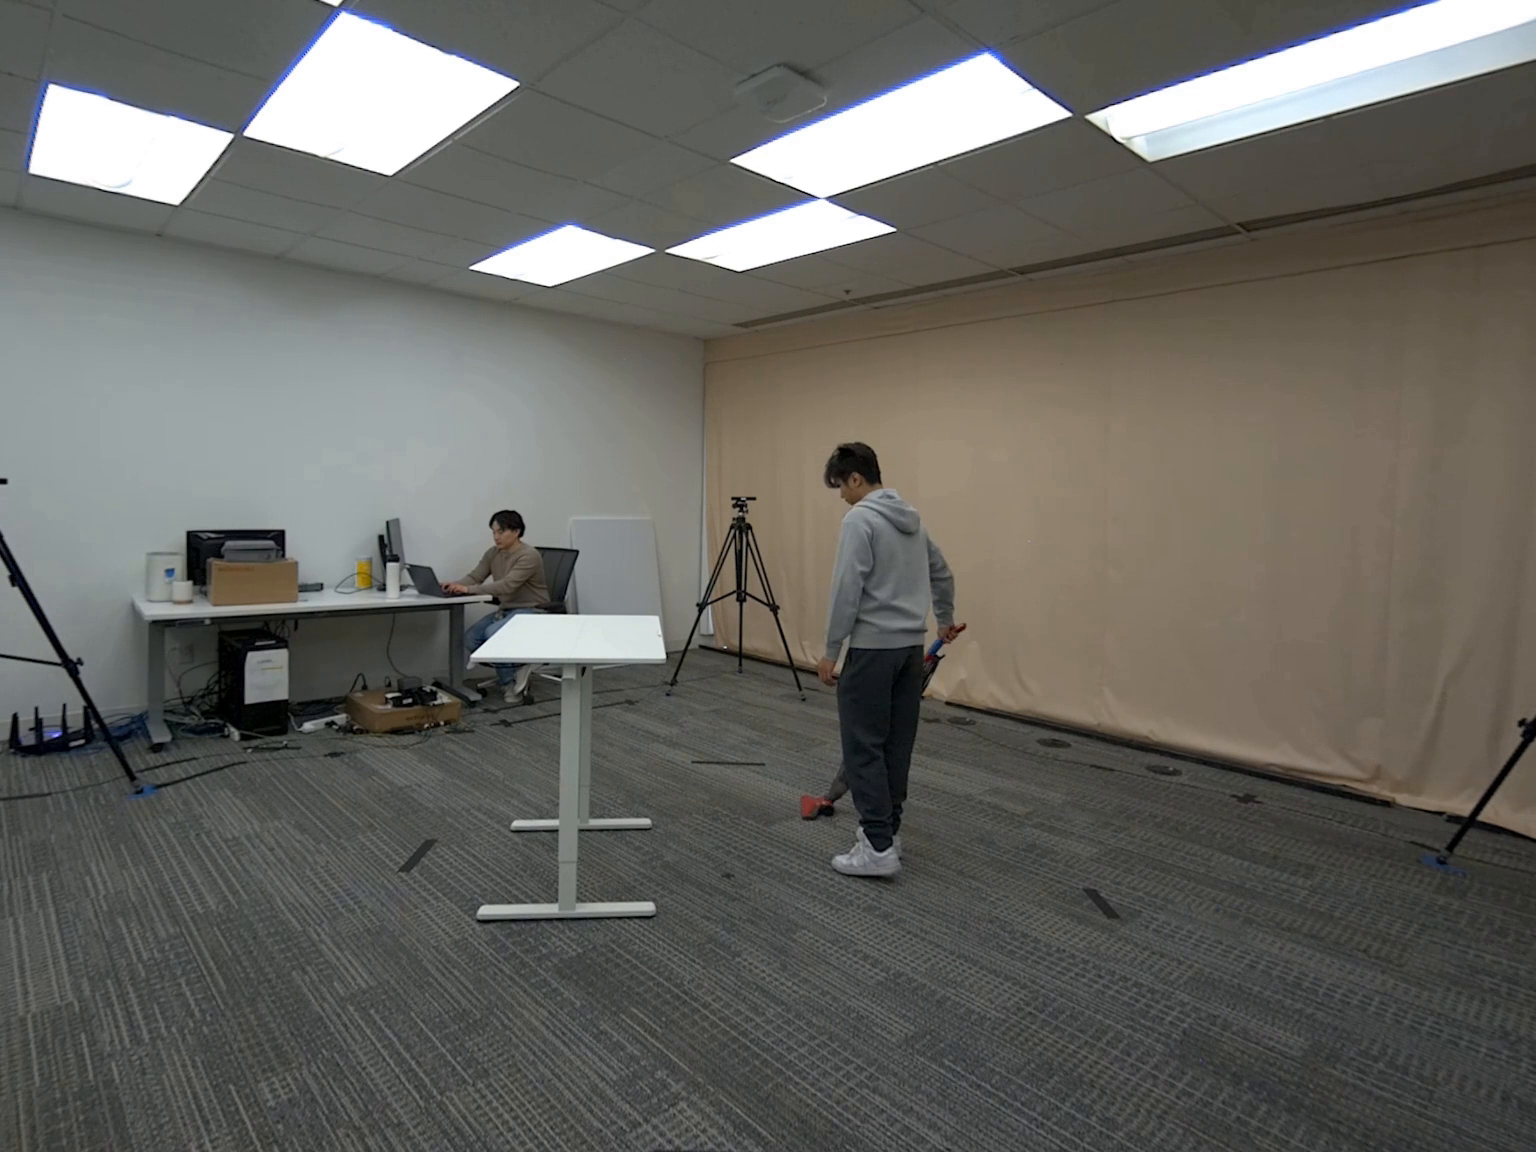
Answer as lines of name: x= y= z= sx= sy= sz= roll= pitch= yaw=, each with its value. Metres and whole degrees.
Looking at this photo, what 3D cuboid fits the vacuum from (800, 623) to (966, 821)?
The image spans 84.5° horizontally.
vacuum: x=0.510 y=0.645 z=3.755 sx=0.143 sy=1.049 sz=0.255 roll=37 pitch=4 yaw=-9
